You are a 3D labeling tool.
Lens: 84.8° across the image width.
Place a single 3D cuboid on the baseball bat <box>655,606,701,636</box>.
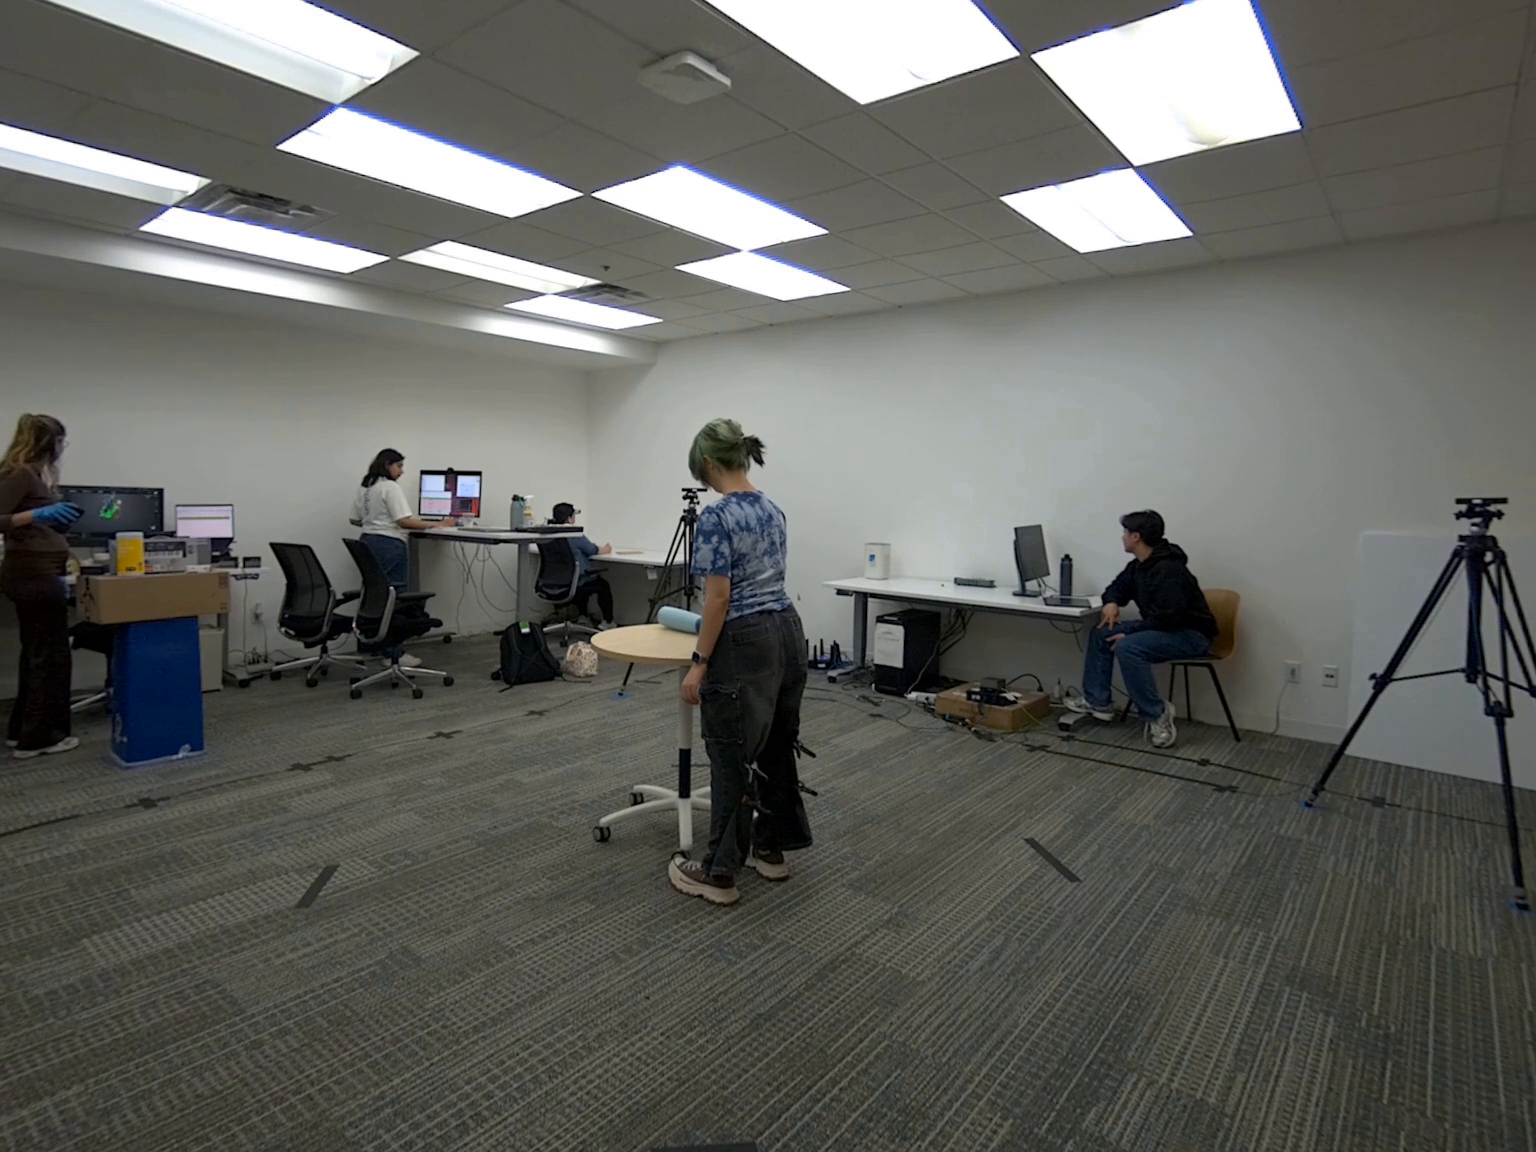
[{"bbox_3d":[-0.273,0.211,3.522,0.086,0.088,0.563,-3,10,-45],"label":"baseball bat"}]
